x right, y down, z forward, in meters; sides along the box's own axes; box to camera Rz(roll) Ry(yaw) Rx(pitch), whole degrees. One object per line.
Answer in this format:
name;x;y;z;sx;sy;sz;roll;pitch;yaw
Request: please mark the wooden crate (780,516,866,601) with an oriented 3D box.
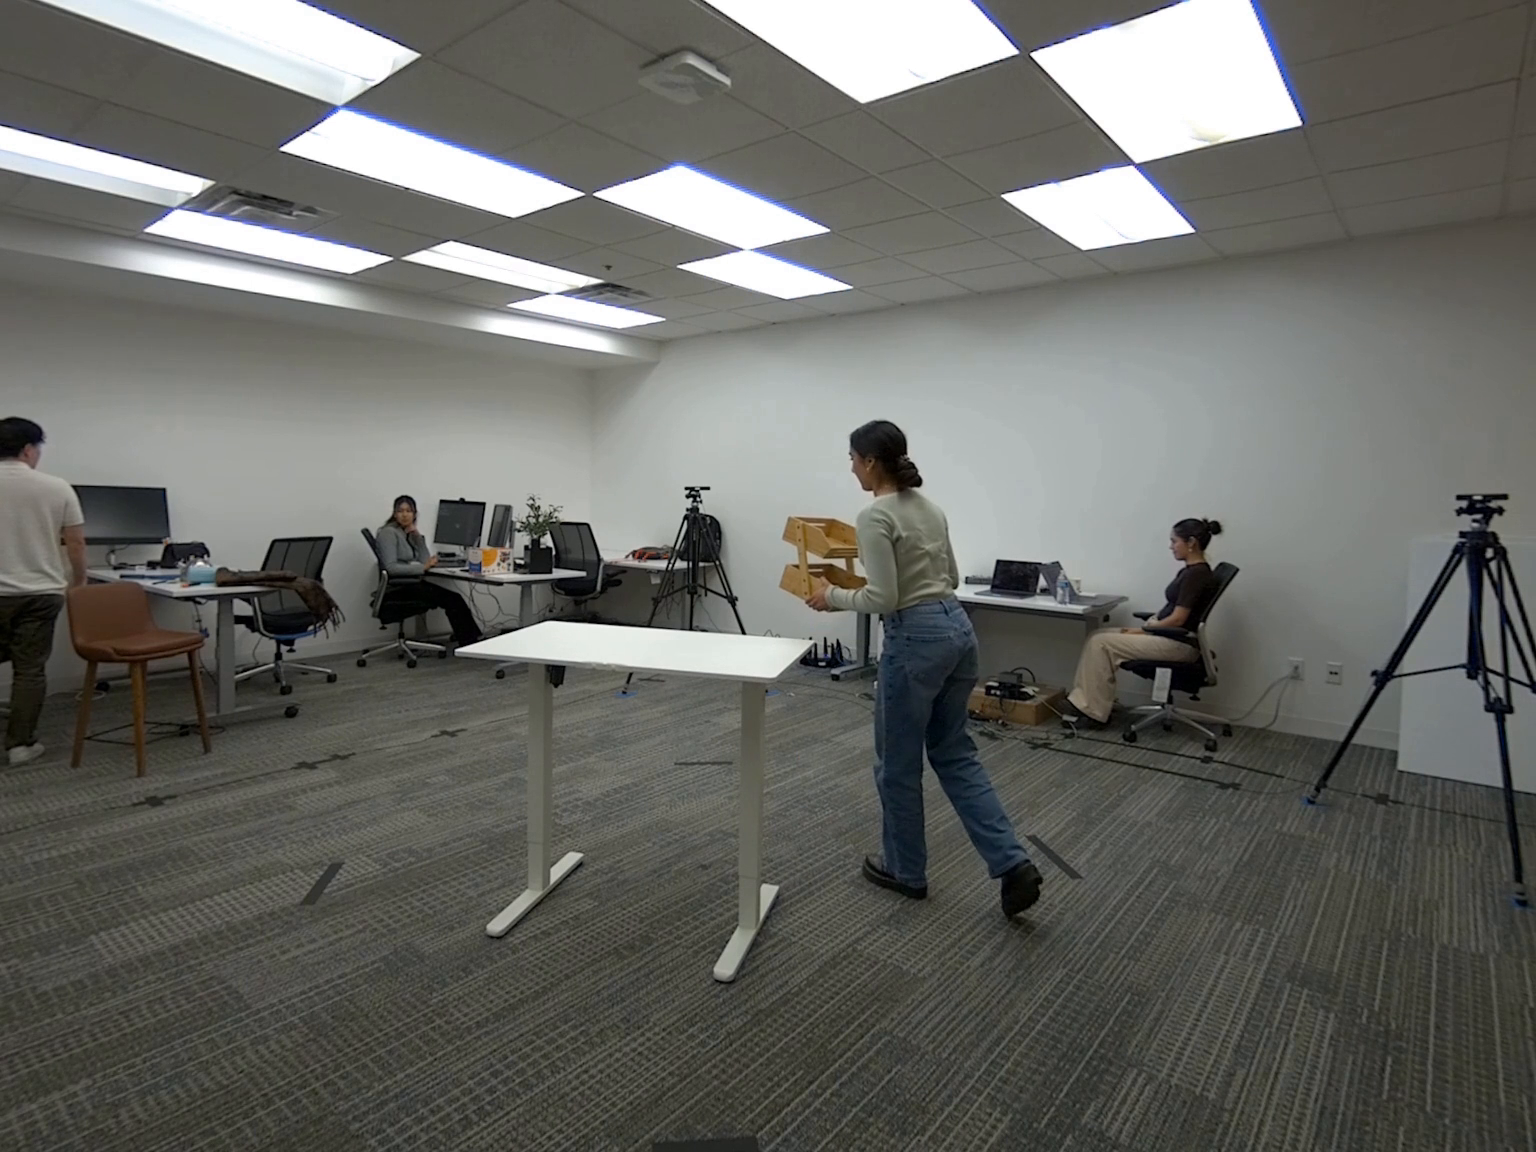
wooden crate;0.234;-0.050;3.140;0.314;0.271;0.314;26;16;36
